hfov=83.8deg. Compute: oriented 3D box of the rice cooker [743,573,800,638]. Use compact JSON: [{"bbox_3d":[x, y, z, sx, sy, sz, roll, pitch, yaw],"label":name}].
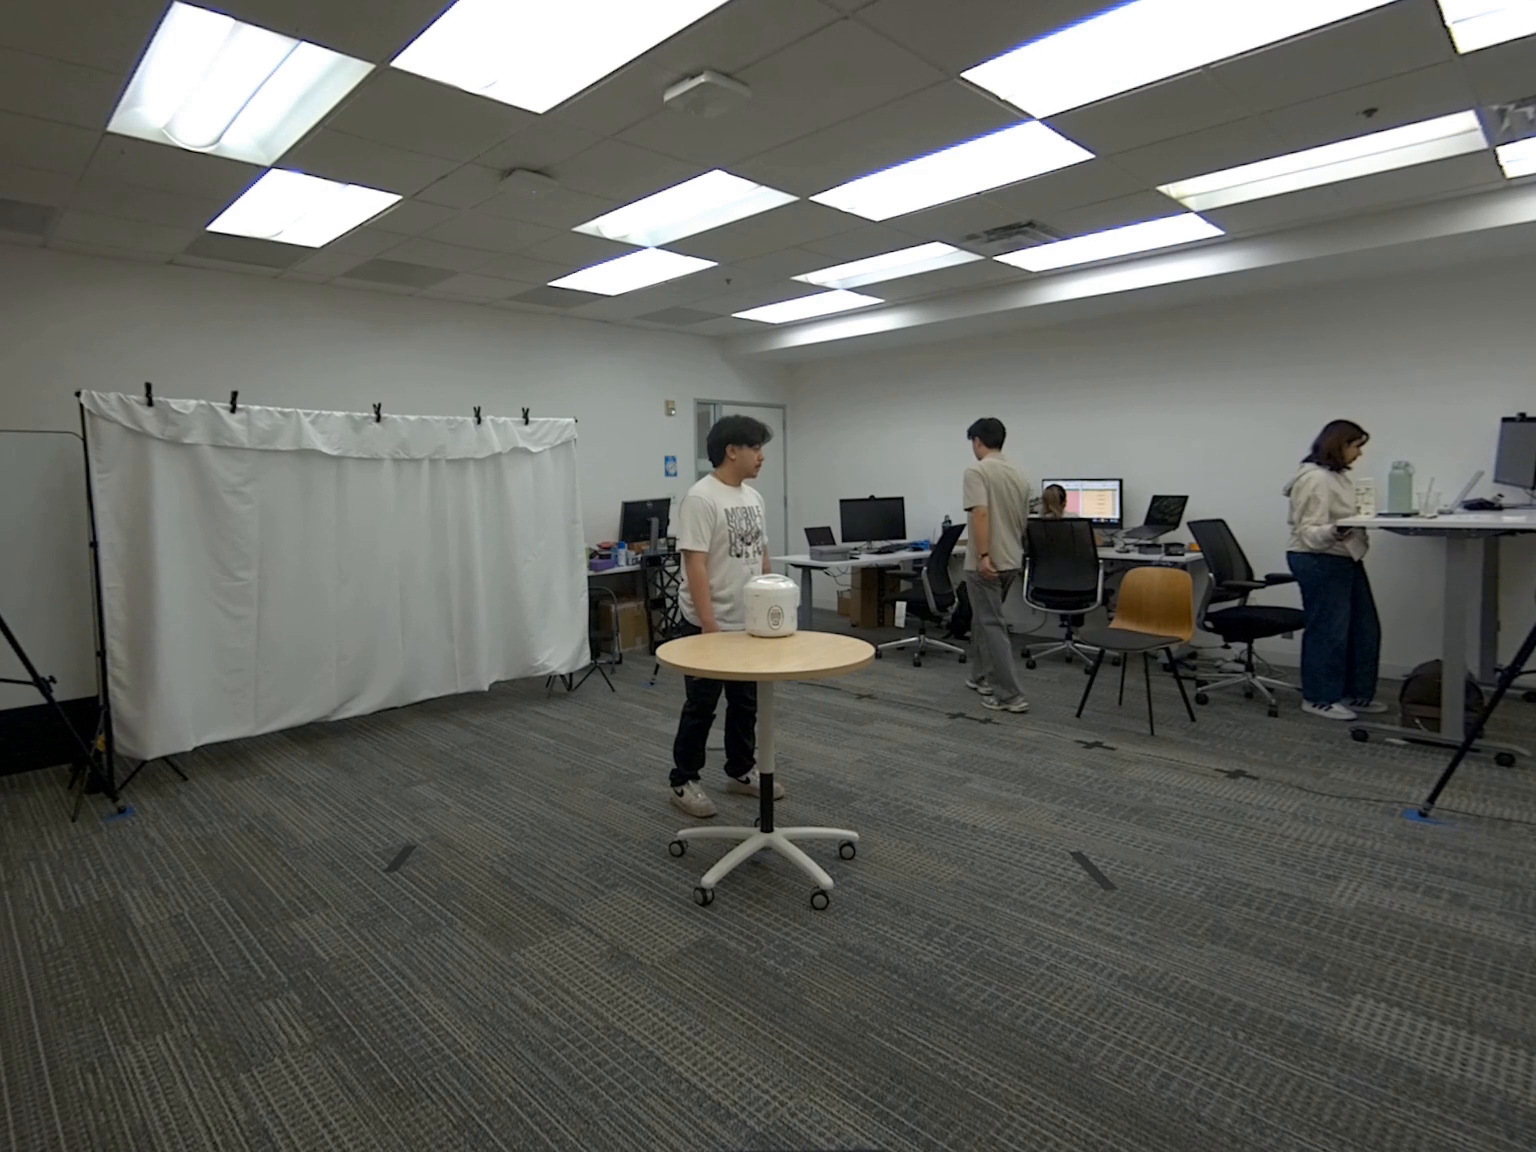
[{"bbox_3d":[0.013,0.111,3.285,0.219,0.232,0.219,-2,3,-7],"label":"rice cooker"}]
